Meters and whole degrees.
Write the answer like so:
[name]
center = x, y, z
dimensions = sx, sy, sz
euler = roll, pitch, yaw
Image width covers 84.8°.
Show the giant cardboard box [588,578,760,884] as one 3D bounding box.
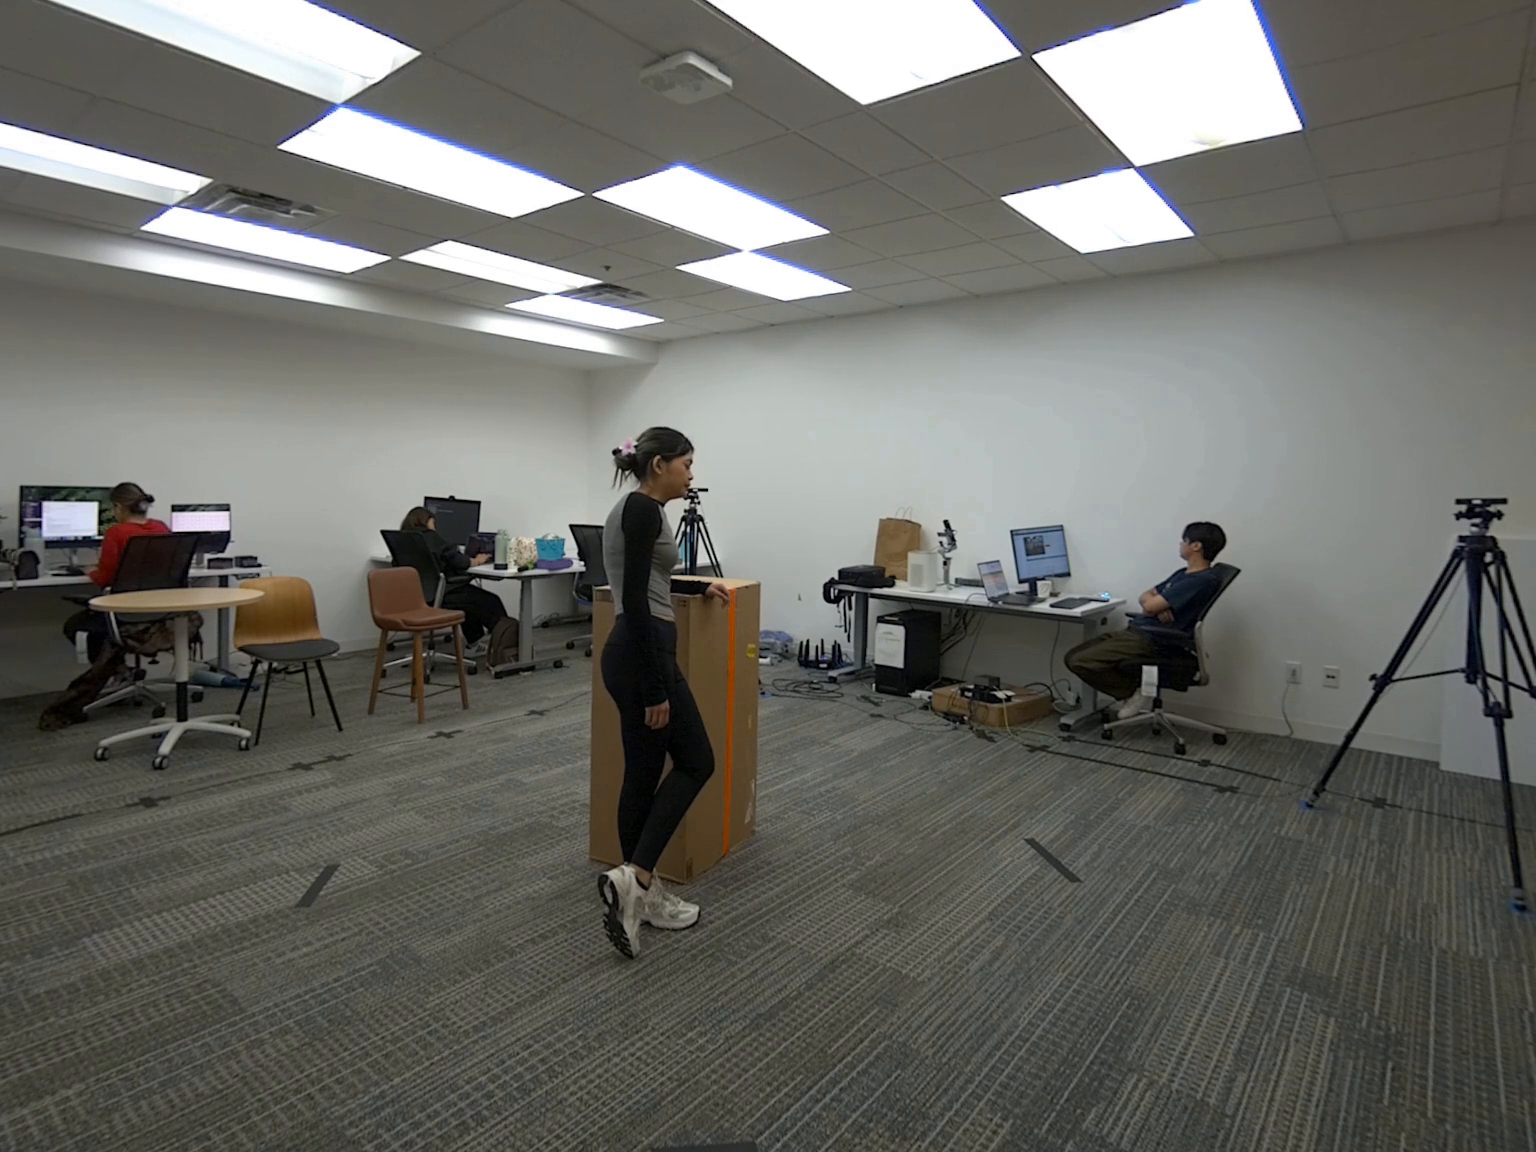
[giant cardboard box]
center = -0.356, 0.539, 3.307
dimensions = 0.438, 1.023, 0.563
euler = 3, 4, 27
